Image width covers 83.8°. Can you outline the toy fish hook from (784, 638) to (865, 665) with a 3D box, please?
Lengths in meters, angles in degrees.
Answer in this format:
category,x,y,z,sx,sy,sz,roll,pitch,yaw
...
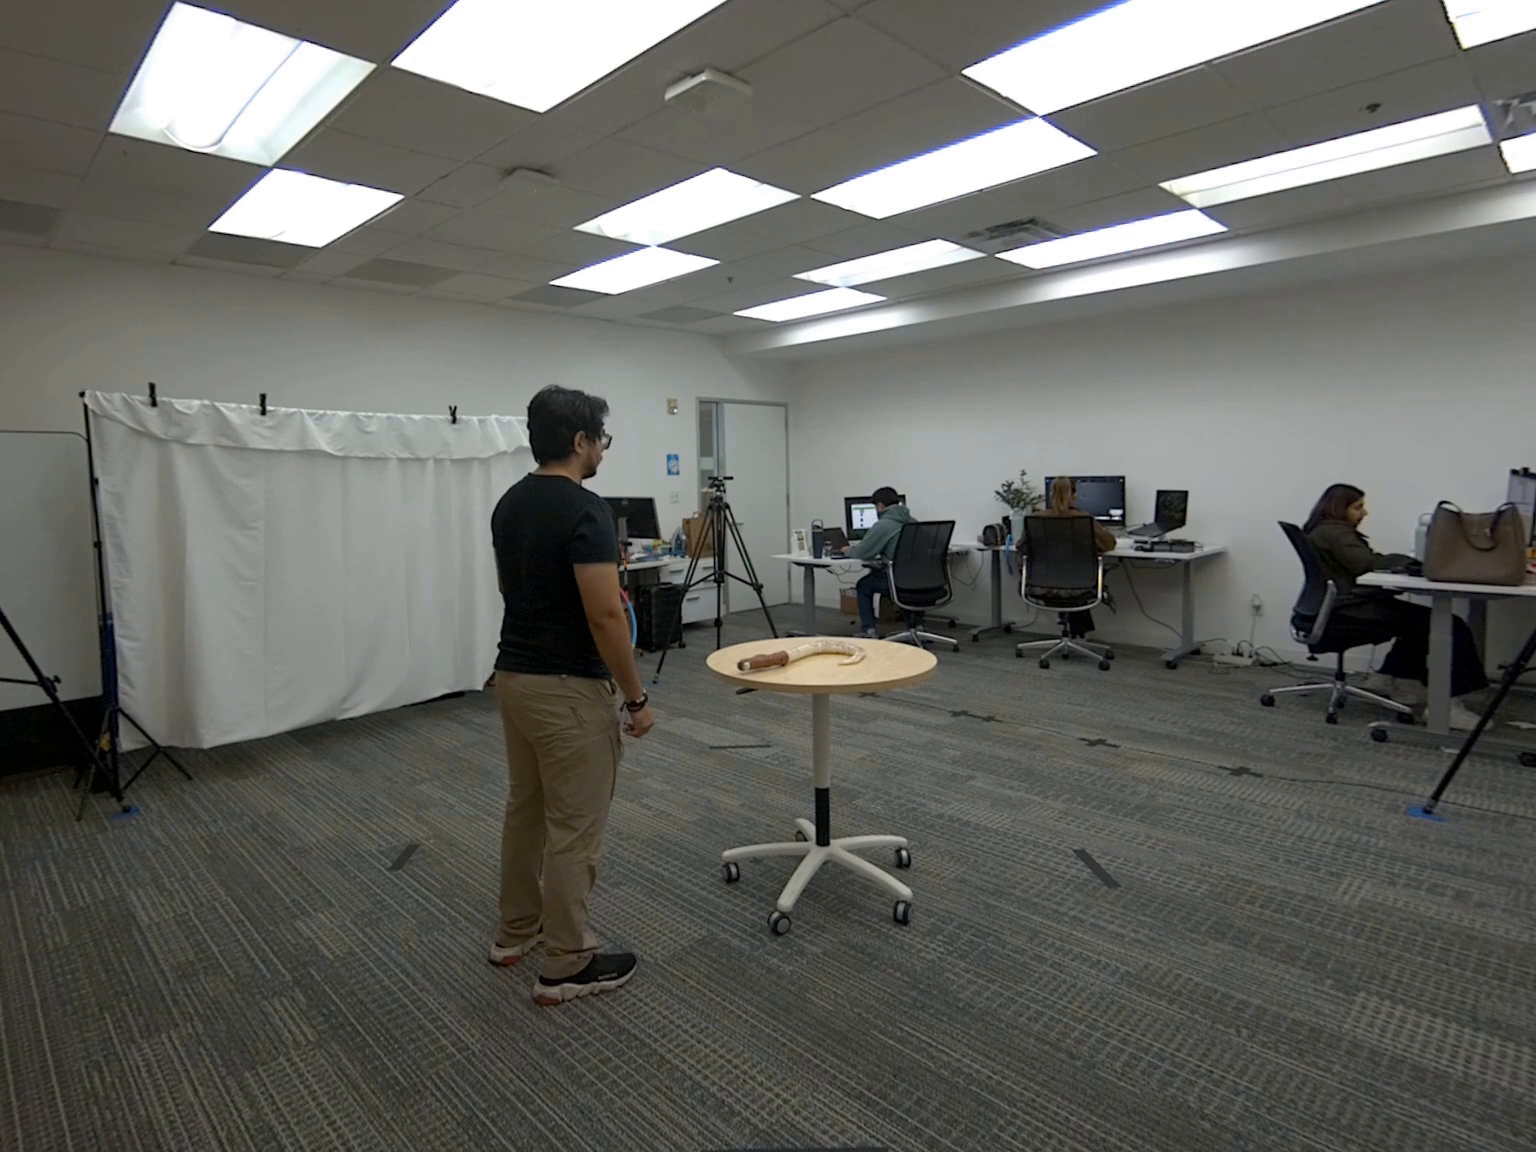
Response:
category,x,y,z,sx,sy,sz,roll,pitch,yaw
toy fish hook,0.127,0.266,2.777,0.493,0.048,0.231,-7,8,-44
